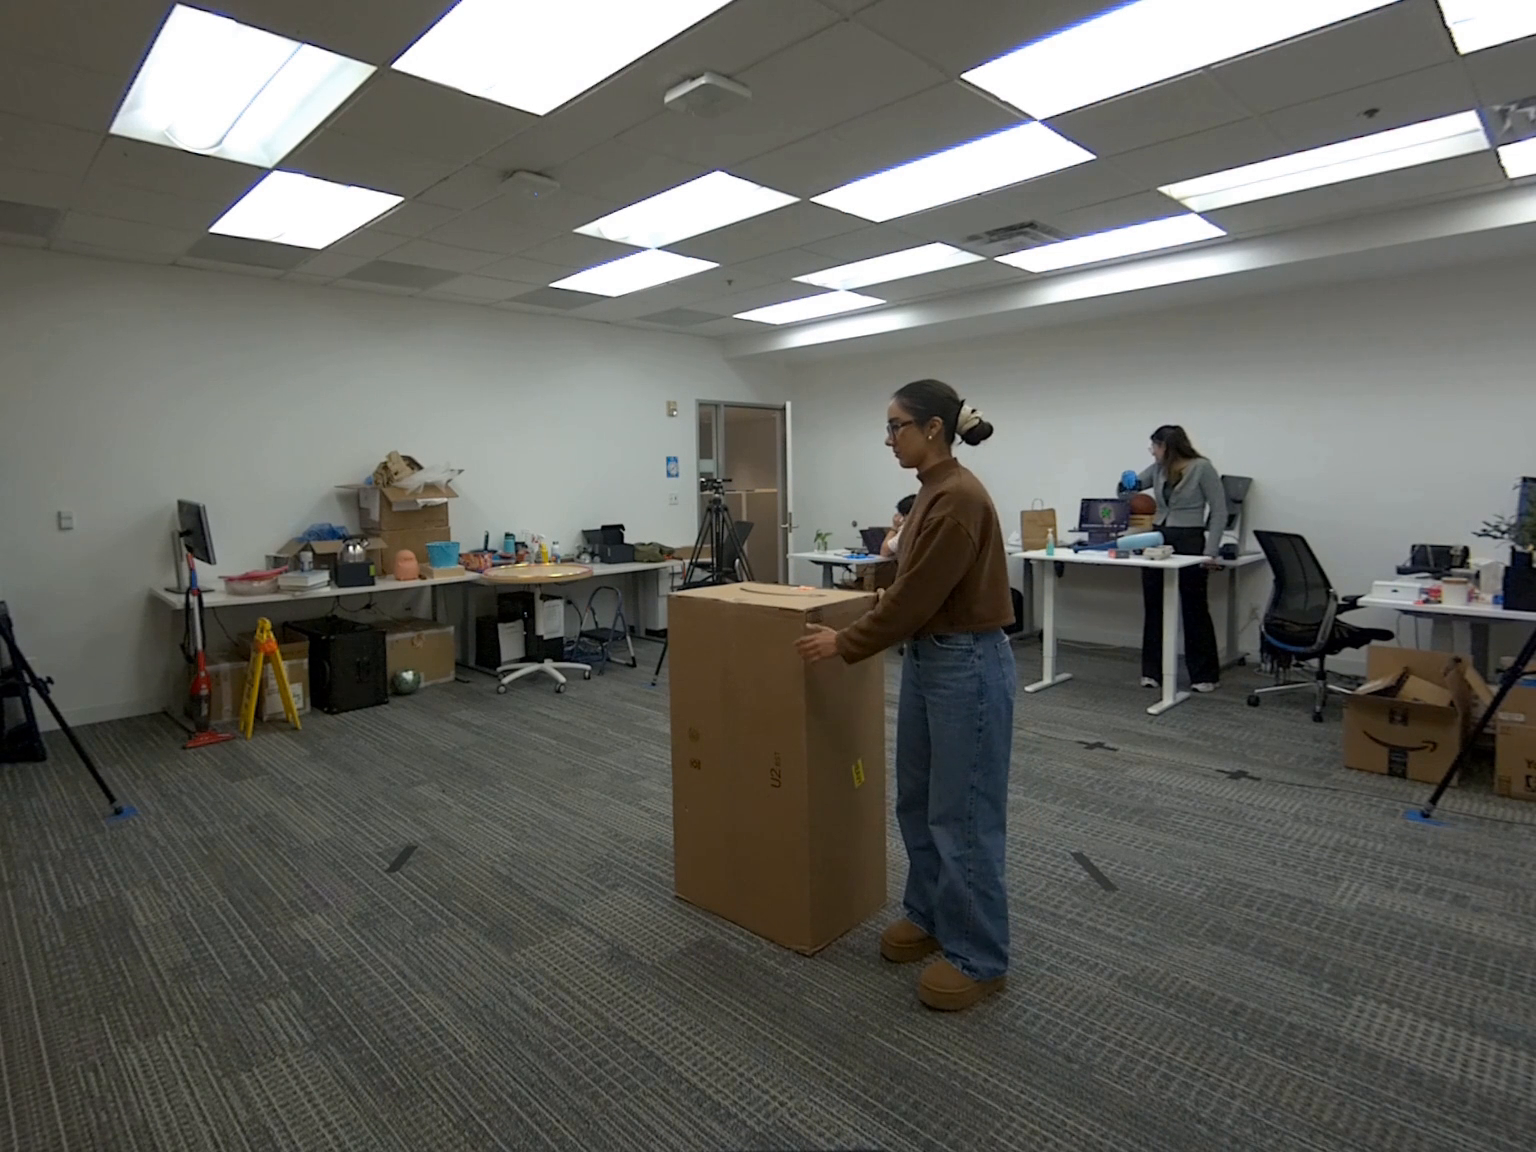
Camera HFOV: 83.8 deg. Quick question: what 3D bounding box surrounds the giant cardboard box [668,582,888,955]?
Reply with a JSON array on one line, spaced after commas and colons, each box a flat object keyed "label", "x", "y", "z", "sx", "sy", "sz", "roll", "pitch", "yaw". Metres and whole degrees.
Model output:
[{"label": "giant cardboard box", "x": 0.029, "y": 0.567, "z": 2.811, "sx": 0.595, "sy": 1.022, "sz": 0.415, "roll": 3, "pitch": 5, "yaw": 42}]
